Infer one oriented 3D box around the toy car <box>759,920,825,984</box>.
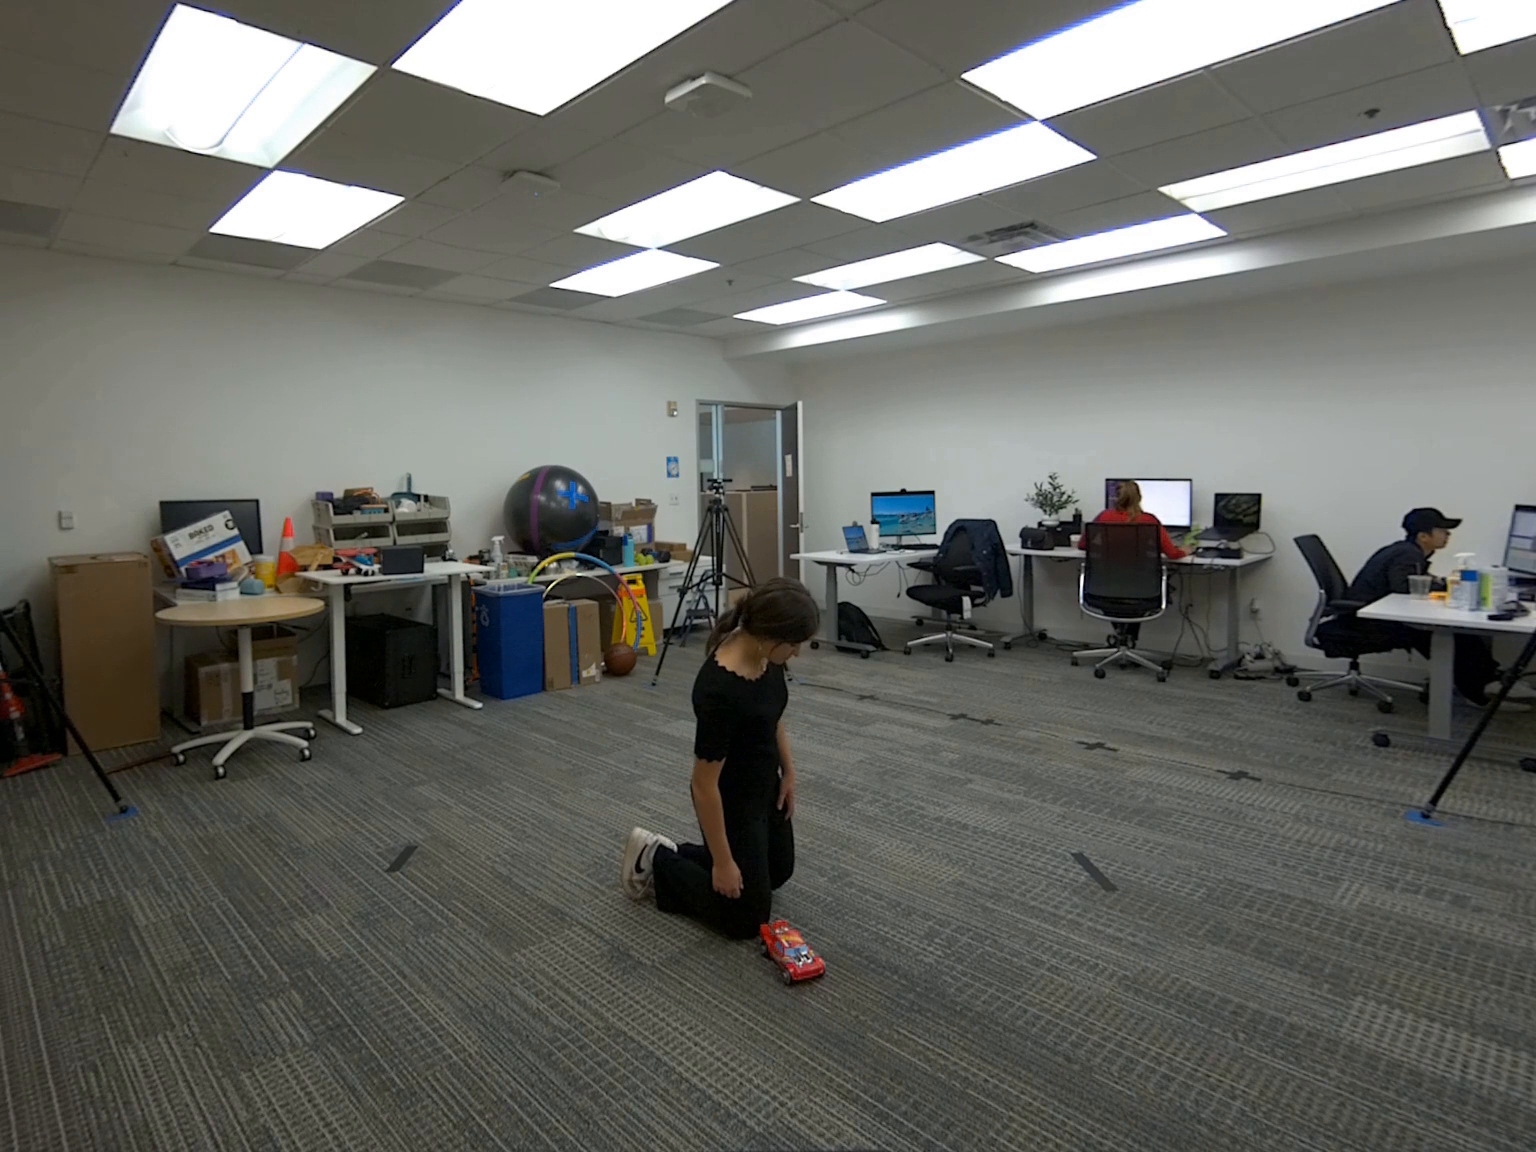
[{"bbox_3d":[0.060,1.091,2.466,0.128,0.082,0.263,-6,18,-22],"label":"toy car"}]
